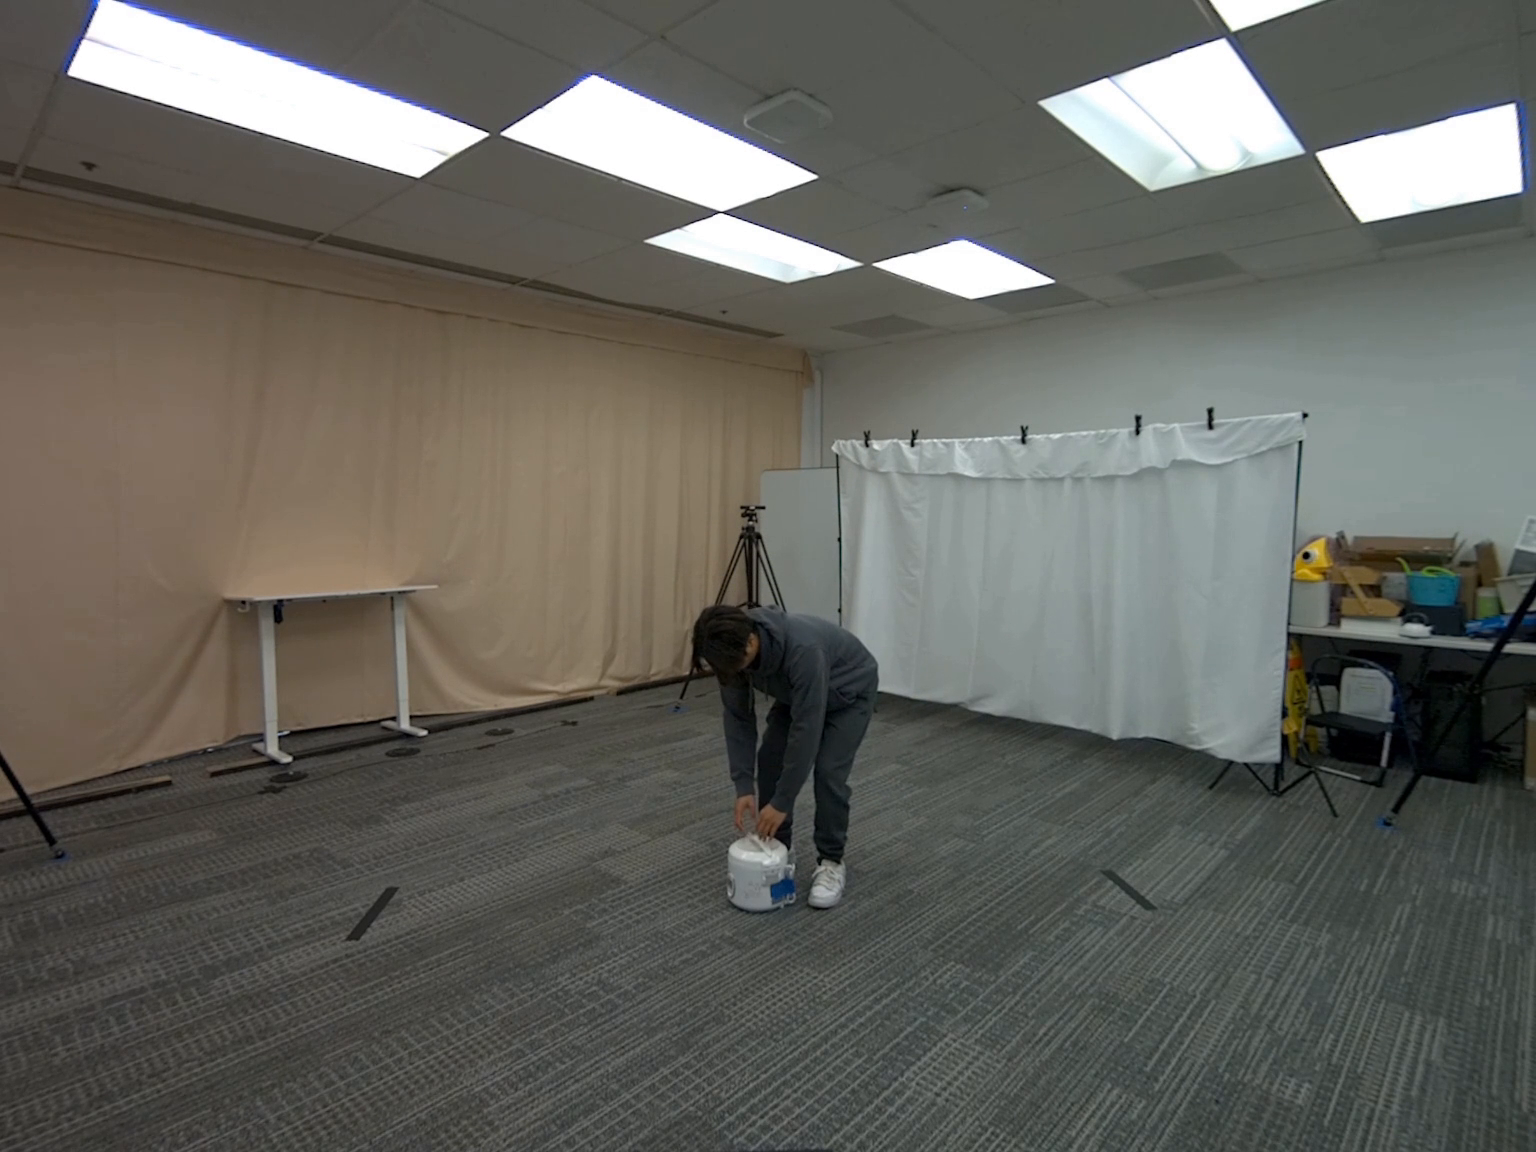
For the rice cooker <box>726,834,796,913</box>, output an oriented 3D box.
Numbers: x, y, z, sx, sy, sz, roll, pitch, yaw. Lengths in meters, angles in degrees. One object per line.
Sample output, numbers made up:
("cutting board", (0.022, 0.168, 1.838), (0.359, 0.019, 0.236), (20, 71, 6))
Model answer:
("rice cooker", (-0.032, 1.028, 2.953), (0.212, 0.232, 0.226), (-1, 4, -25))
